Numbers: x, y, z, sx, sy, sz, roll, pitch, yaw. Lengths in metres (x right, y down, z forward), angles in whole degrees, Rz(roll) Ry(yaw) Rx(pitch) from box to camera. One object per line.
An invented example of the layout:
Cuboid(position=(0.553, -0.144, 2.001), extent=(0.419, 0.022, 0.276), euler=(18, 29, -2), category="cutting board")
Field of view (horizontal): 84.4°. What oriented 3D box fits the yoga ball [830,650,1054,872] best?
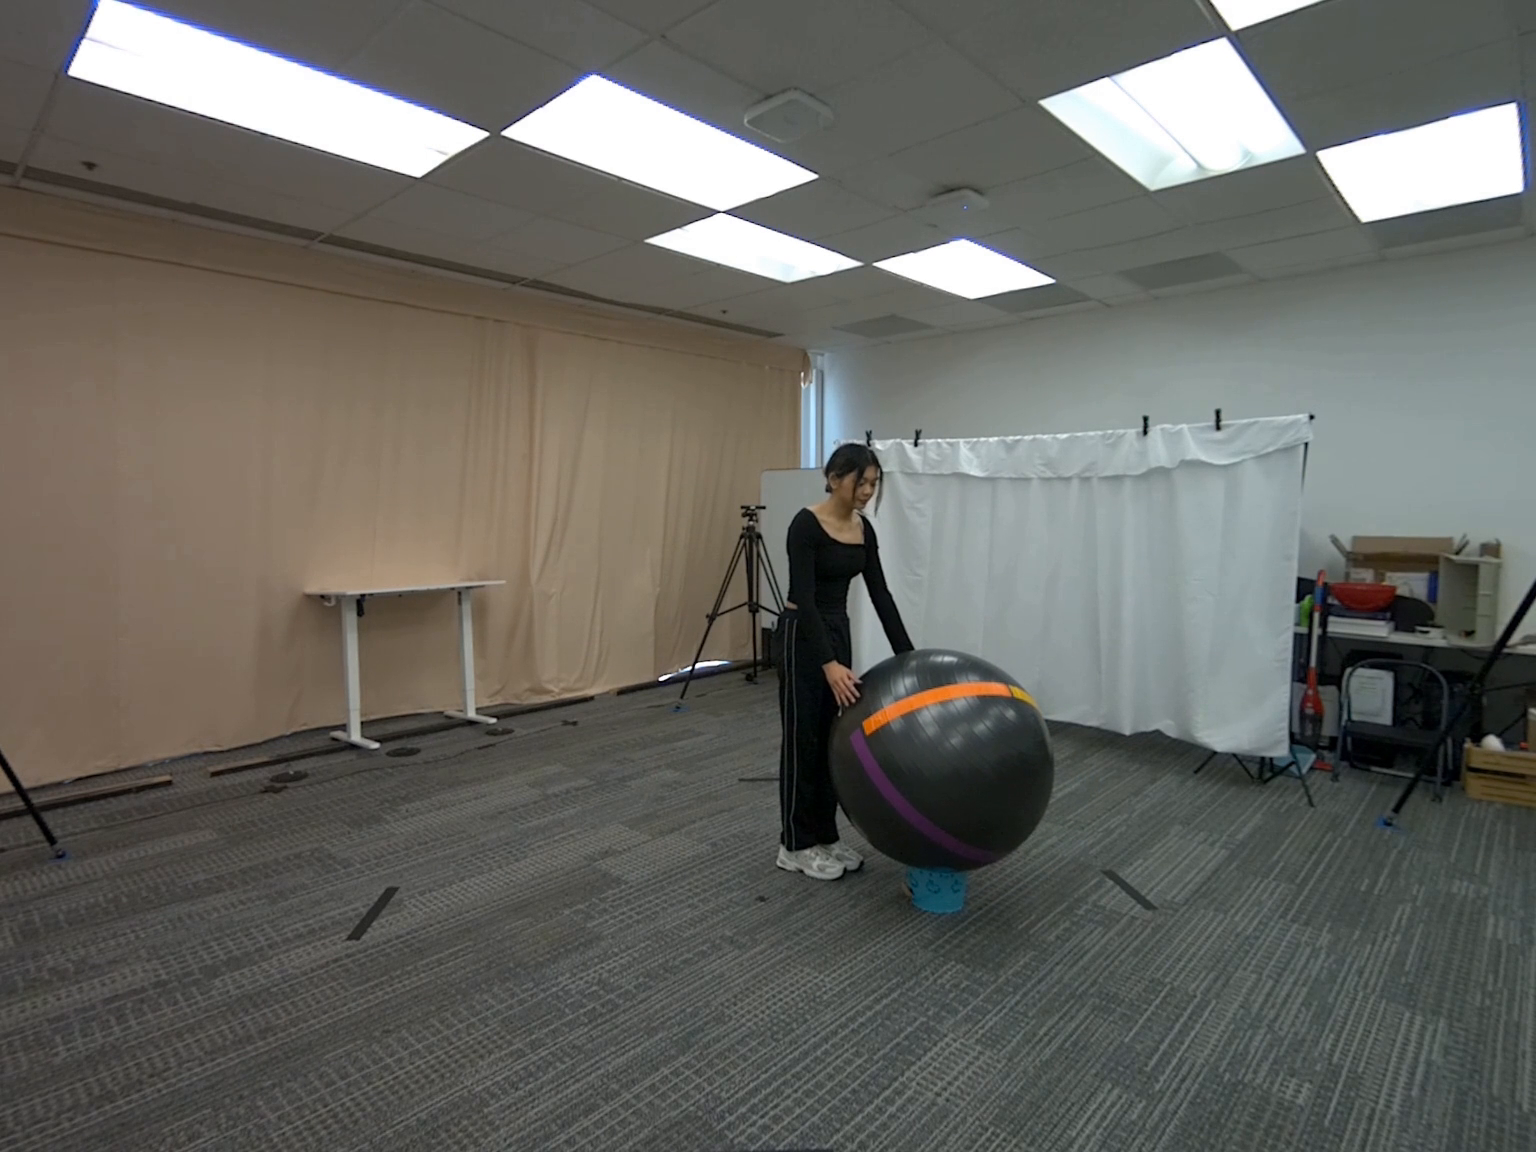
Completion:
Cuboid(position=(0.603, 0.637, 2.934), extent=(0.757, 0.756, 0.760), euler=(0, 4, -2), category="yoga ball")
